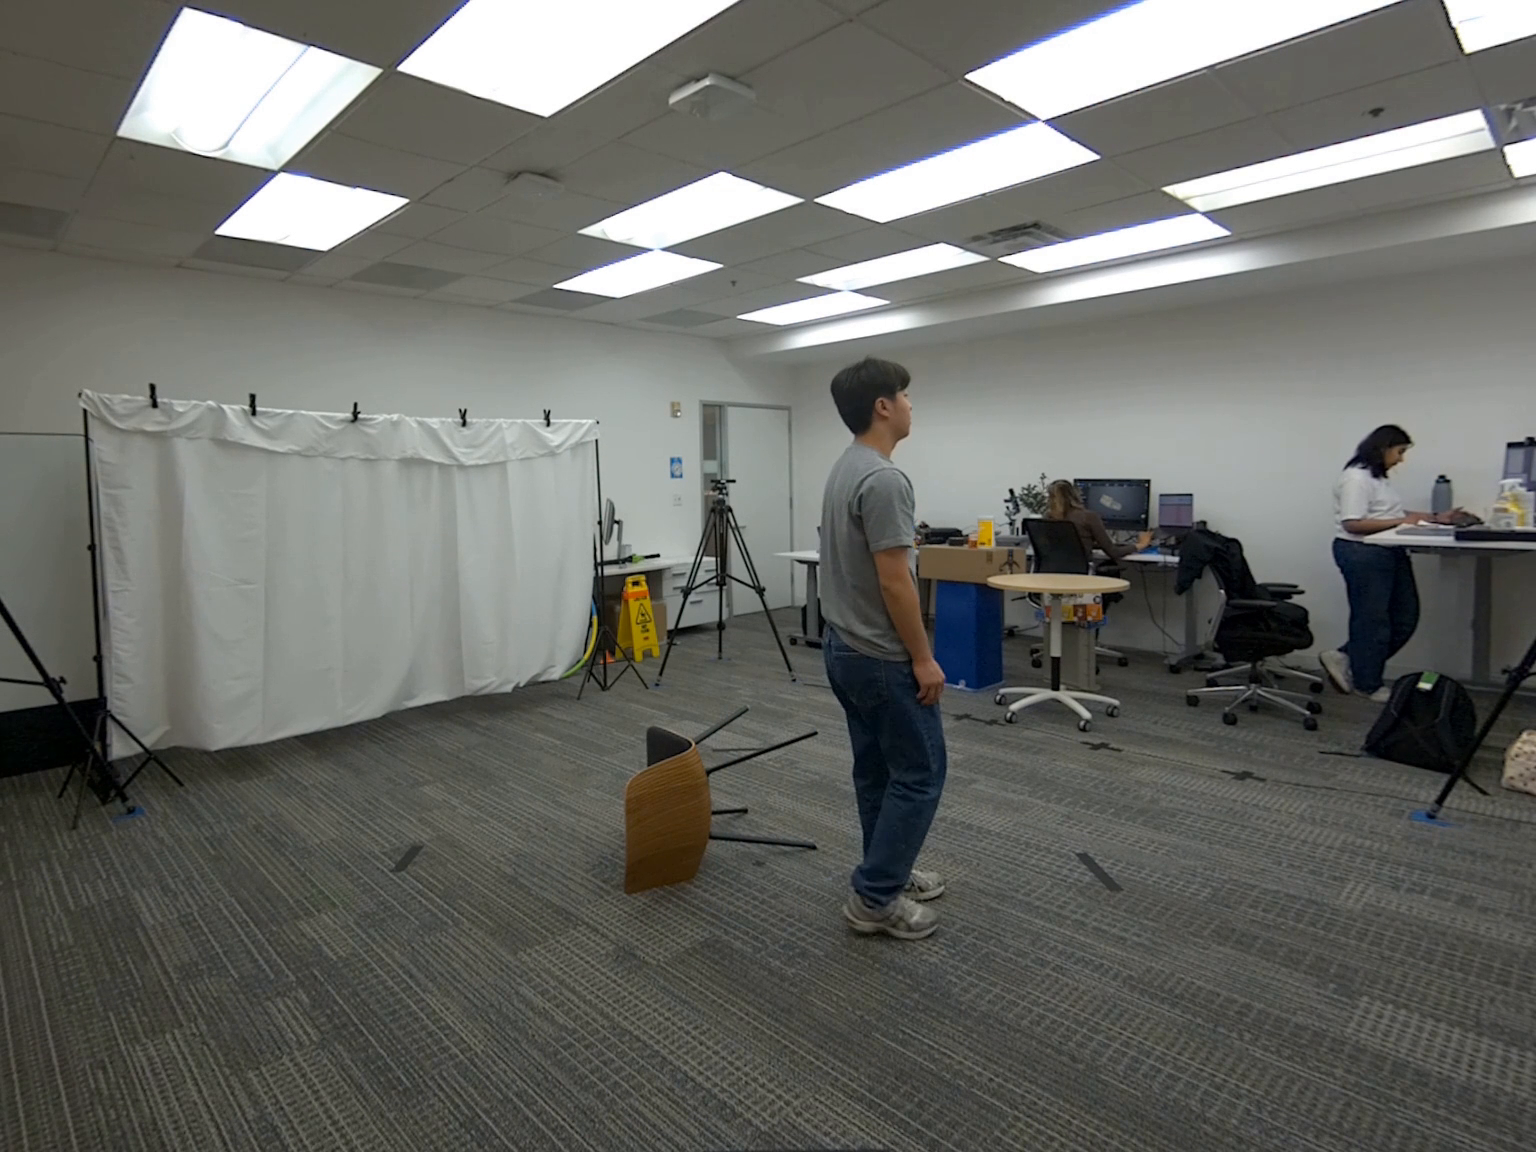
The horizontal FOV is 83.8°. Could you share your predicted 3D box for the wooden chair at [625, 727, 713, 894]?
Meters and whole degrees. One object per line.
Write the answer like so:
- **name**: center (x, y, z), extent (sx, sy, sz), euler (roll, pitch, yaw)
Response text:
- **wooden chair**: center (-0.294, 0.815, 3.163), extent (0.854, 0.476, 0.539), euler (-5, 7, -40)
